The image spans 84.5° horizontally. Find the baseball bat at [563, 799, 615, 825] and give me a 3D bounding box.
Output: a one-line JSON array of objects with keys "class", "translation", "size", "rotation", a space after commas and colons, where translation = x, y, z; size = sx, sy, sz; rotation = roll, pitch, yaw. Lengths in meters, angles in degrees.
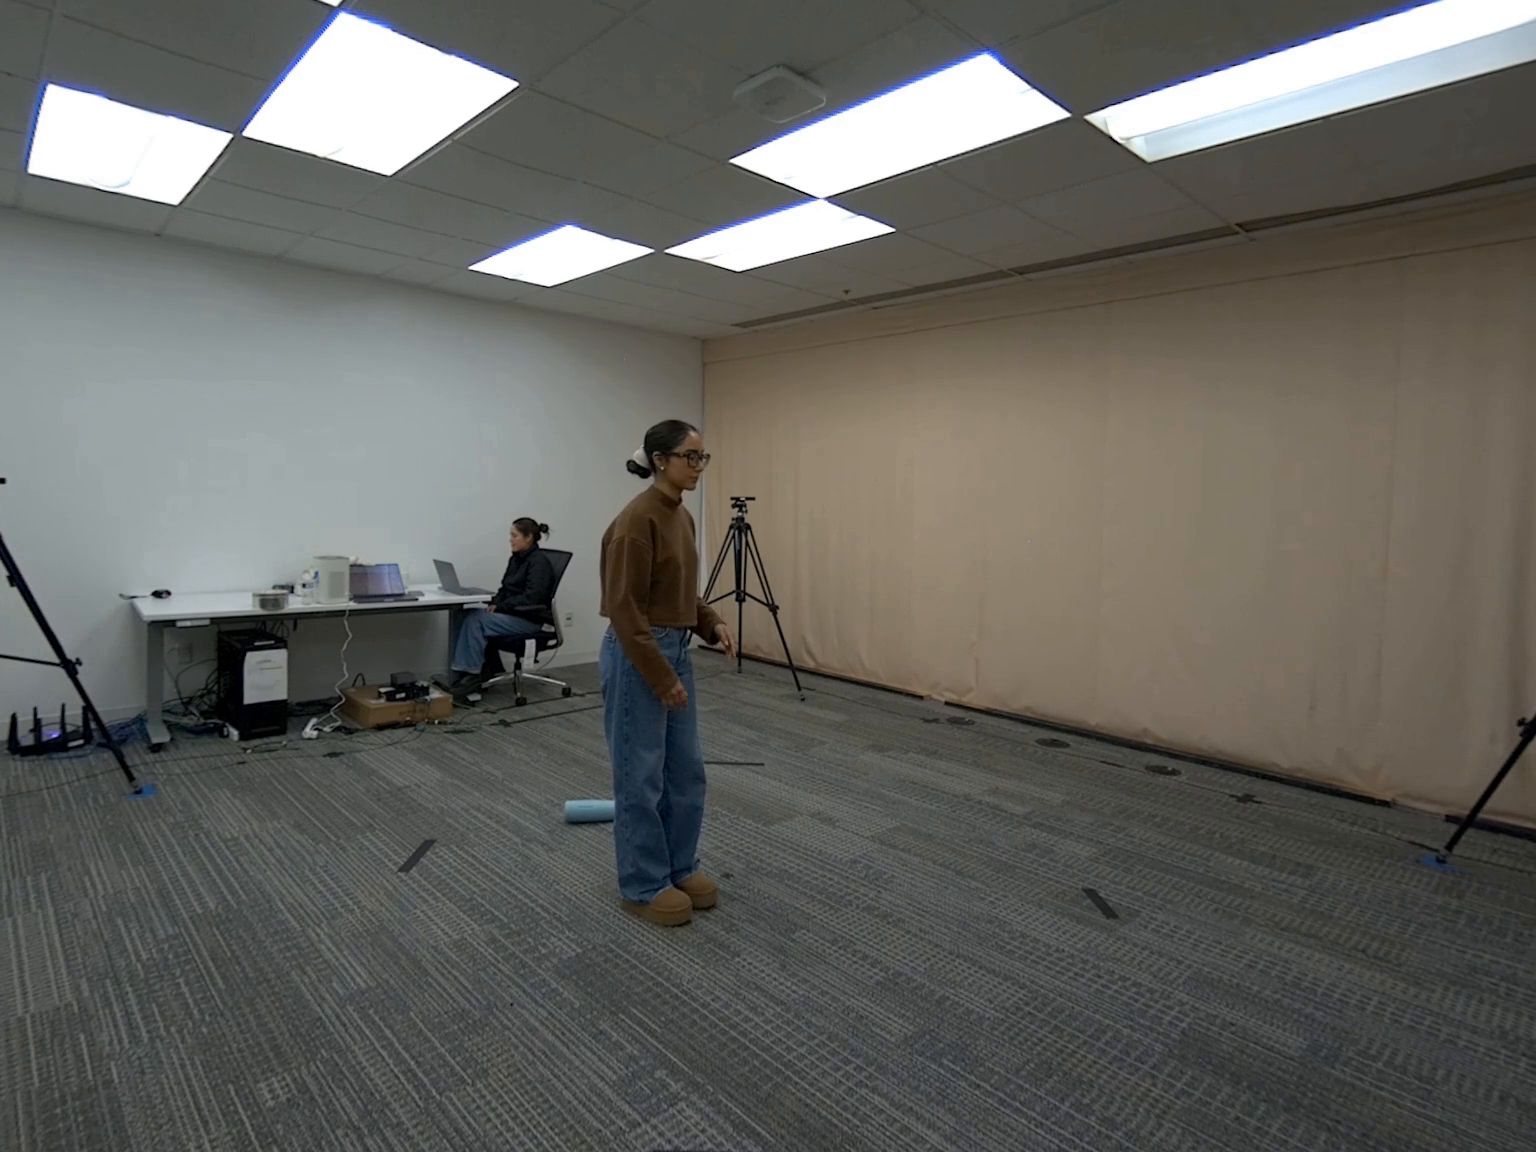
[{"class": "baseball bat", "translation": [-0.613, 1.013, 3.630], "size": [0.537, 0.089, 0.090], "rotation": [3, 4, -14]}]
